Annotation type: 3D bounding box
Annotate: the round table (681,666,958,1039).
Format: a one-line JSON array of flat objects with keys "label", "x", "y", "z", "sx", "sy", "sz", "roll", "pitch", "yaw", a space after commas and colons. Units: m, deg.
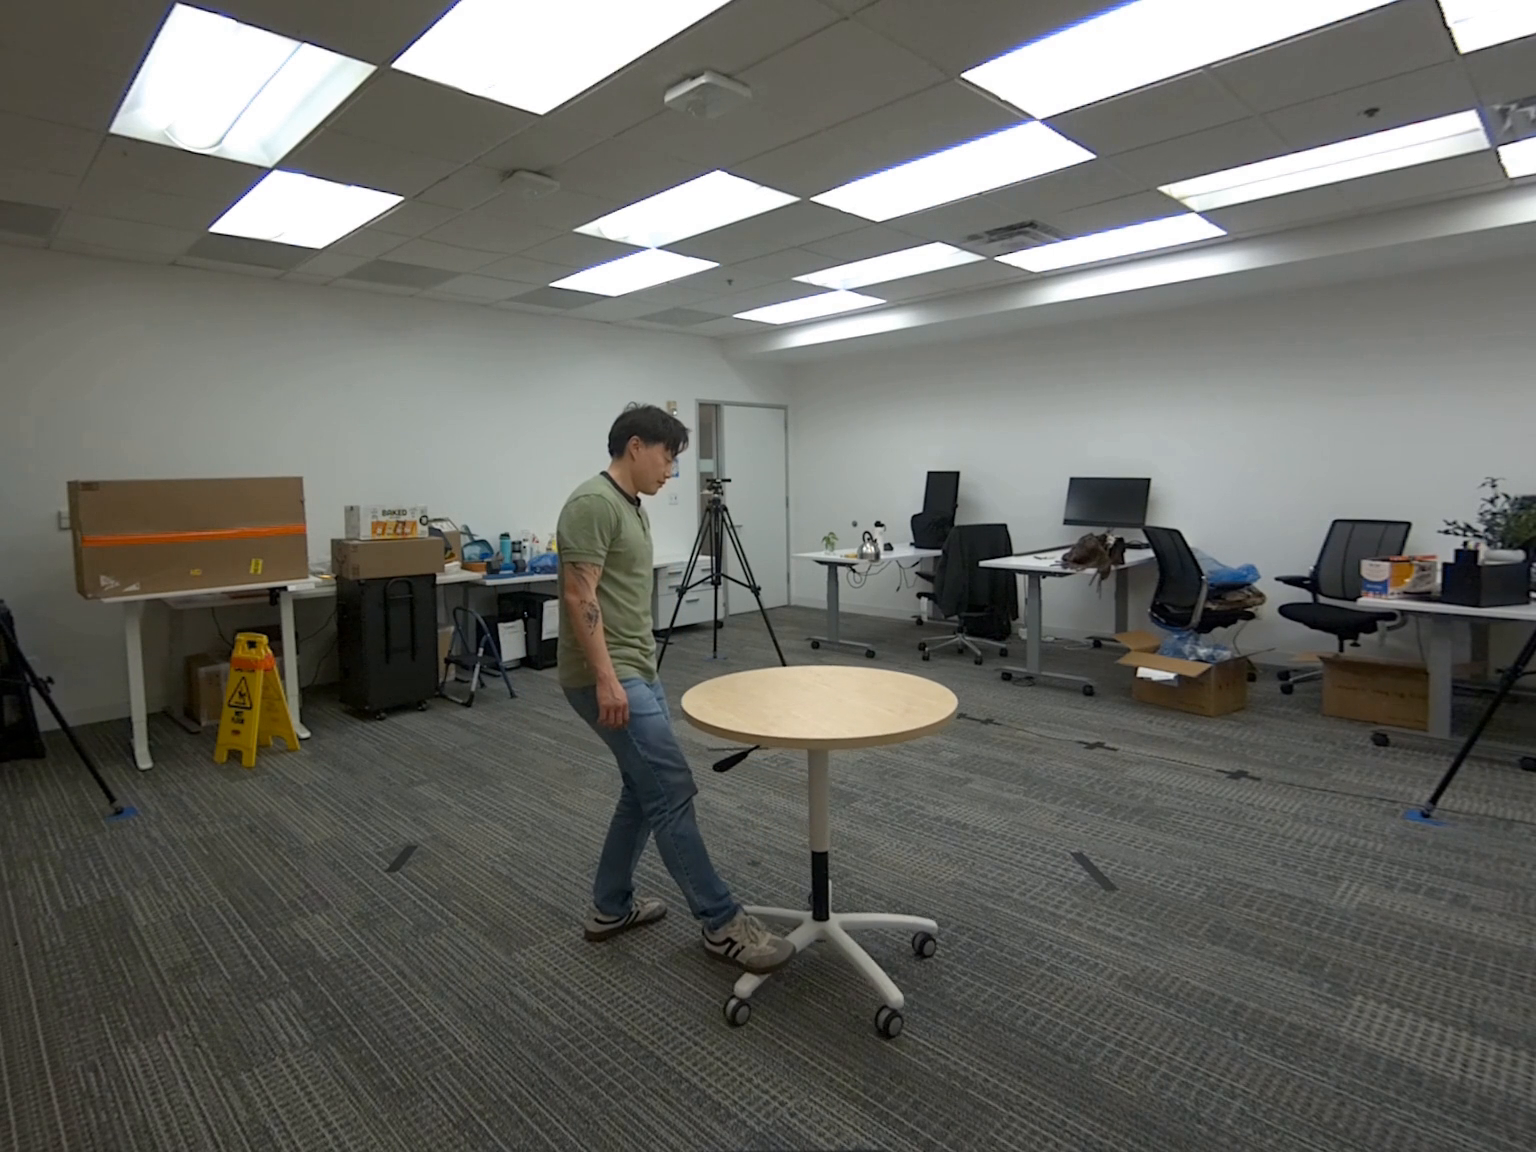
[{"label": "round table", "x": 0.151, "y": 0.728, "z": 2.433, "sx": 0.763, "sy": 0.790, "sz": 0.768, "roll": -2, "pitch": 5, "yaw": -2}]
